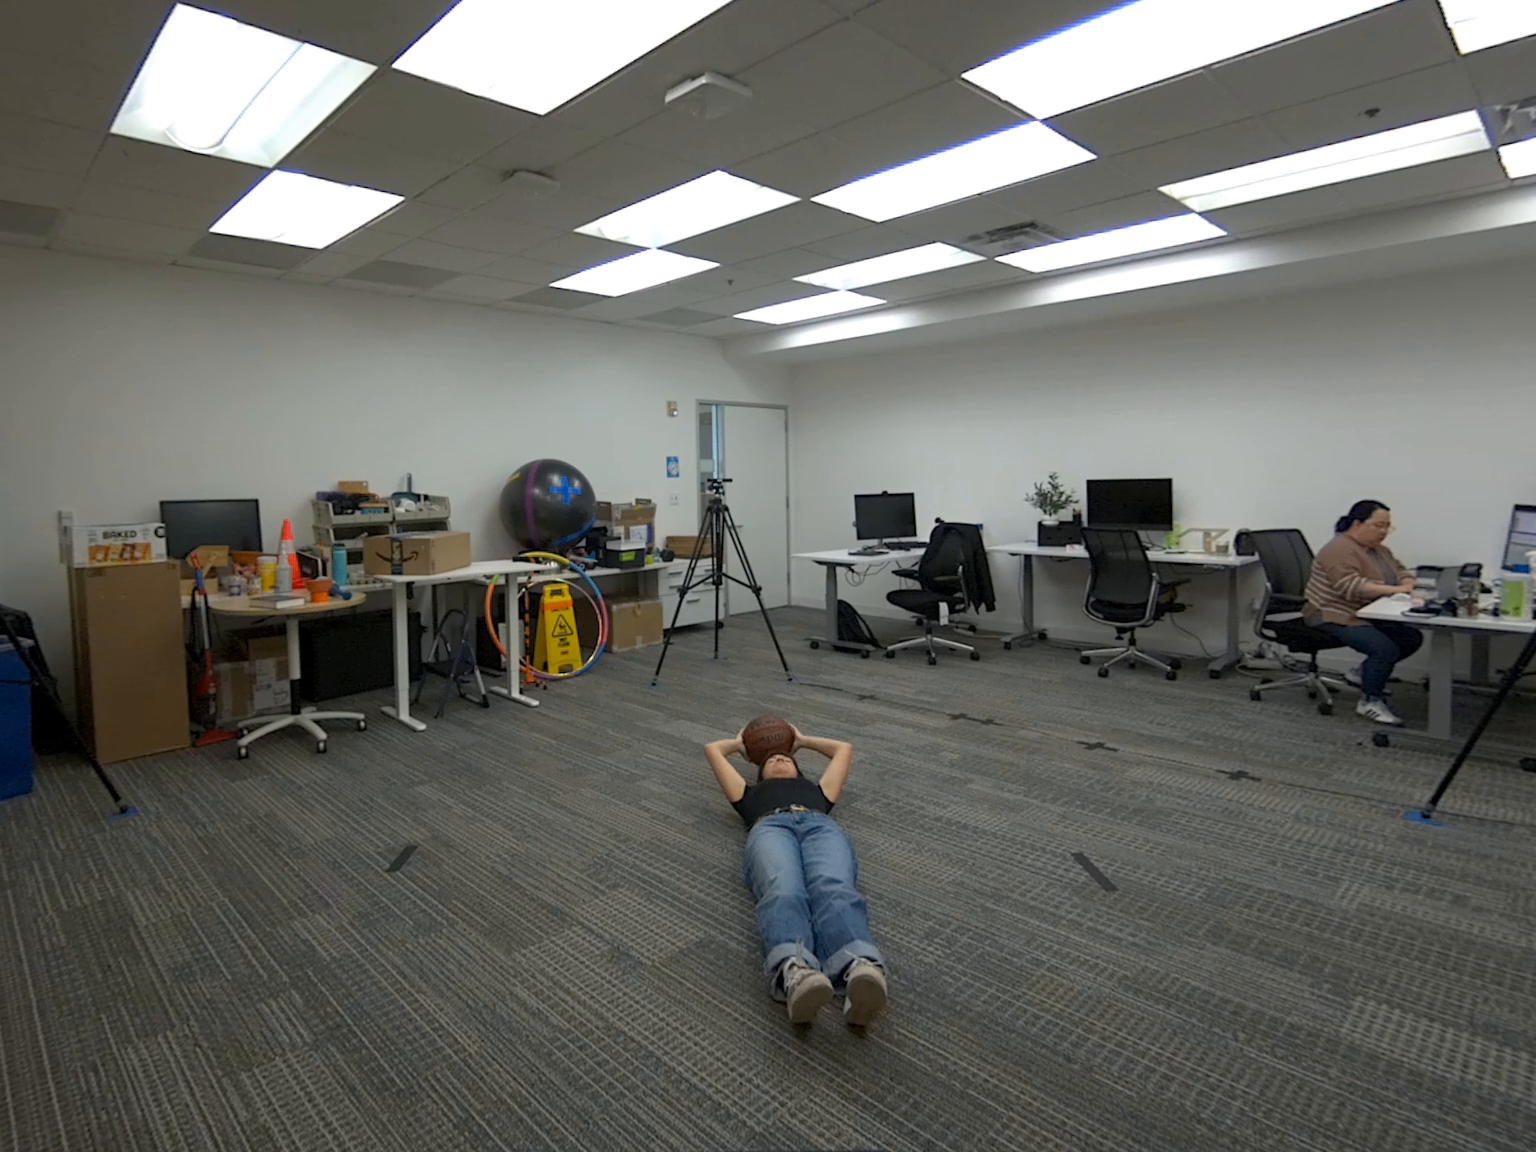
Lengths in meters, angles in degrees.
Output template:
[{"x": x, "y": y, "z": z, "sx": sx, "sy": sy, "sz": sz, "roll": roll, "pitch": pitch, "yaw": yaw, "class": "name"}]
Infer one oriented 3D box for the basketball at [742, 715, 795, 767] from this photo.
[{"x": 0.001, "y": 0.739, "z": 3.907, "sx": 0.236, "sy": 0.235, "sz": 0.237, "roll": -1, "pitch": 5, "yaw": -2, "class": "basketball"}]
